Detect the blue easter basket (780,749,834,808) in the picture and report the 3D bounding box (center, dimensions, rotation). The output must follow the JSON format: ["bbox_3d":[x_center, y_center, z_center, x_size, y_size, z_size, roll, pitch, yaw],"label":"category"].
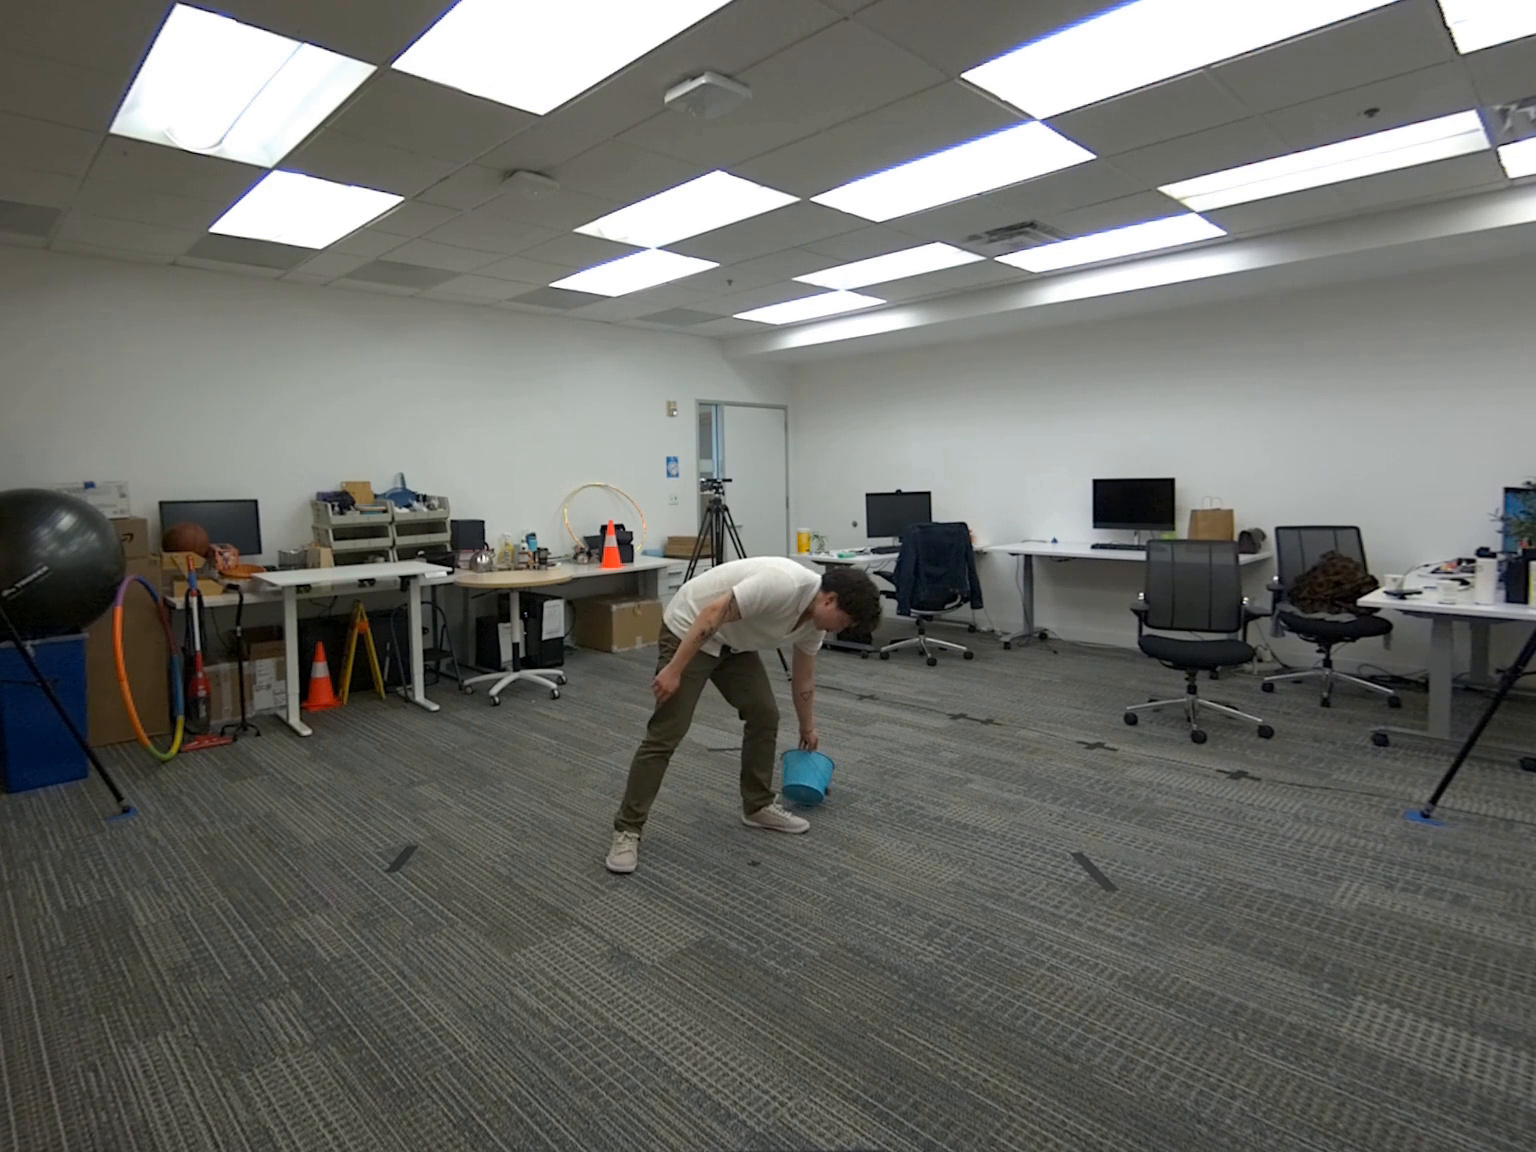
[{"bbox_3d":[0.165,0.860,3.650,0.247,0.235,0.159,1,48,15],"label":"blue easter basket"}]
